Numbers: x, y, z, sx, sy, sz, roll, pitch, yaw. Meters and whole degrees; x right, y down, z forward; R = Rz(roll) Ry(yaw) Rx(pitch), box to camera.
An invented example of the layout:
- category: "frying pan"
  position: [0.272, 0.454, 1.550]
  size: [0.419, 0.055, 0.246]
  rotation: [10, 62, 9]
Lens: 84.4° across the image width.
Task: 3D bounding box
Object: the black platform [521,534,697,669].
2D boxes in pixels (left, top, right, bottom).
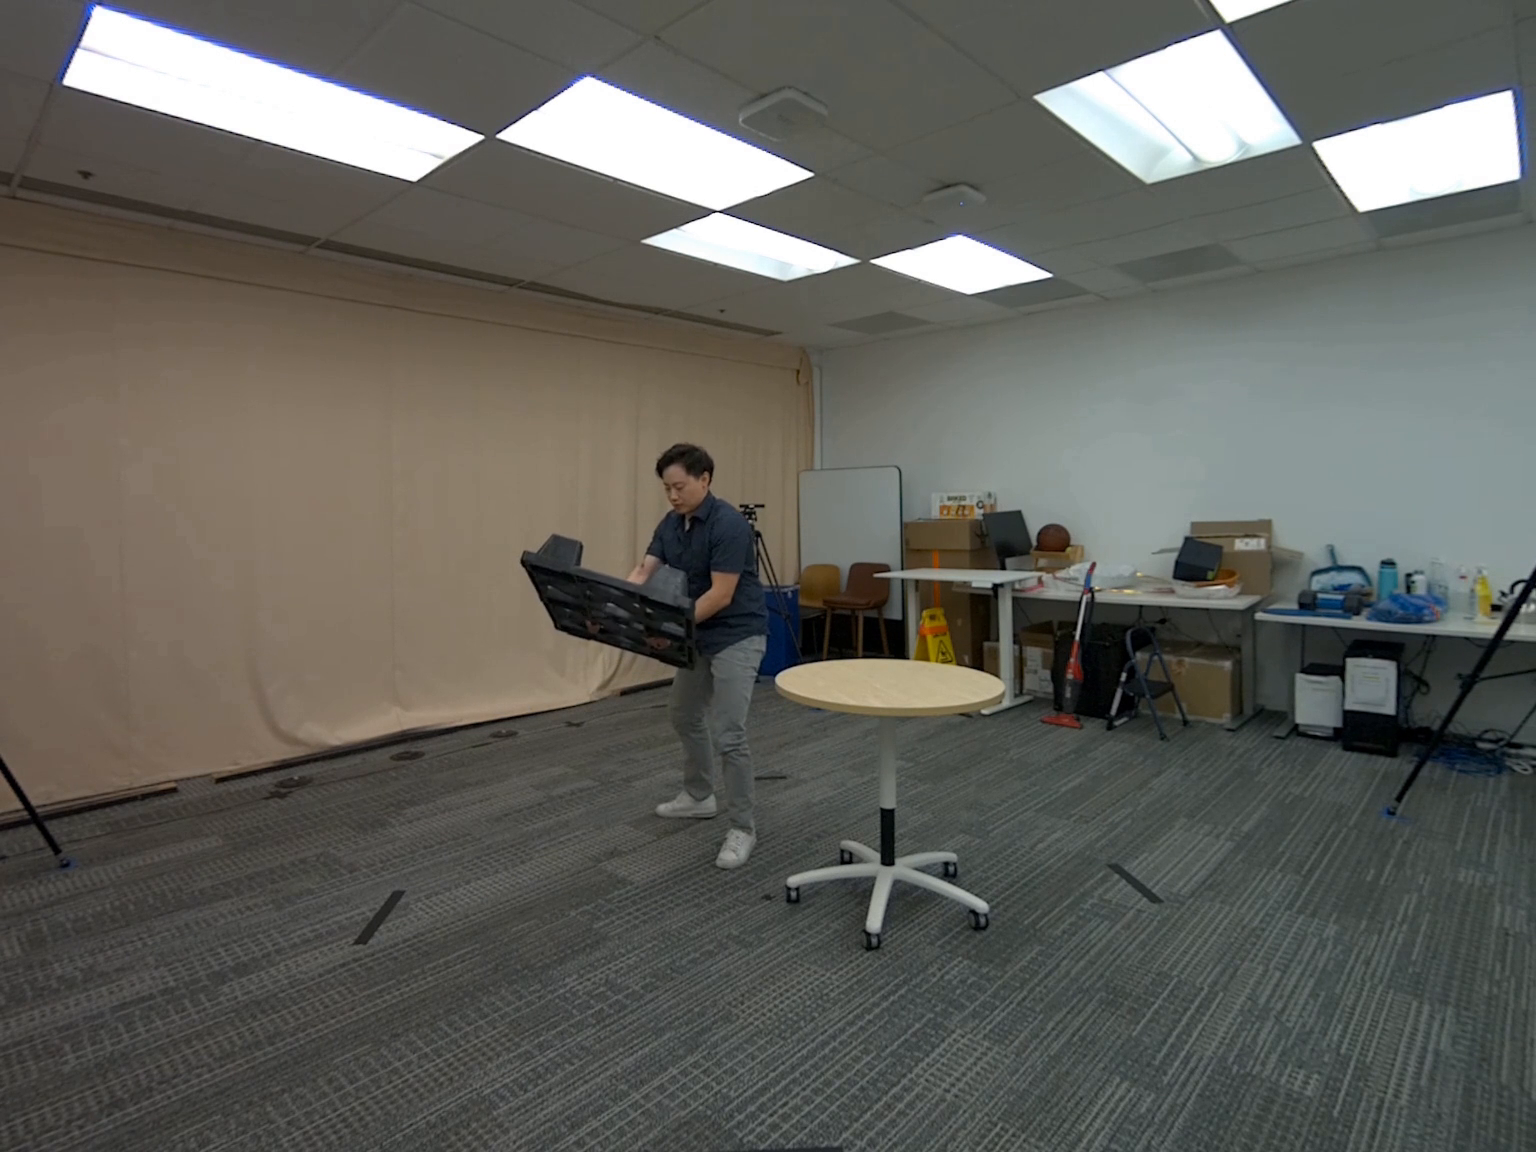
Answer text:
- category: "black platform"
  position: [-0.550, 0.111, 3.117]
  size: [0.609, 0.144, 0.797]
  rotation: [18, -22, 4]
